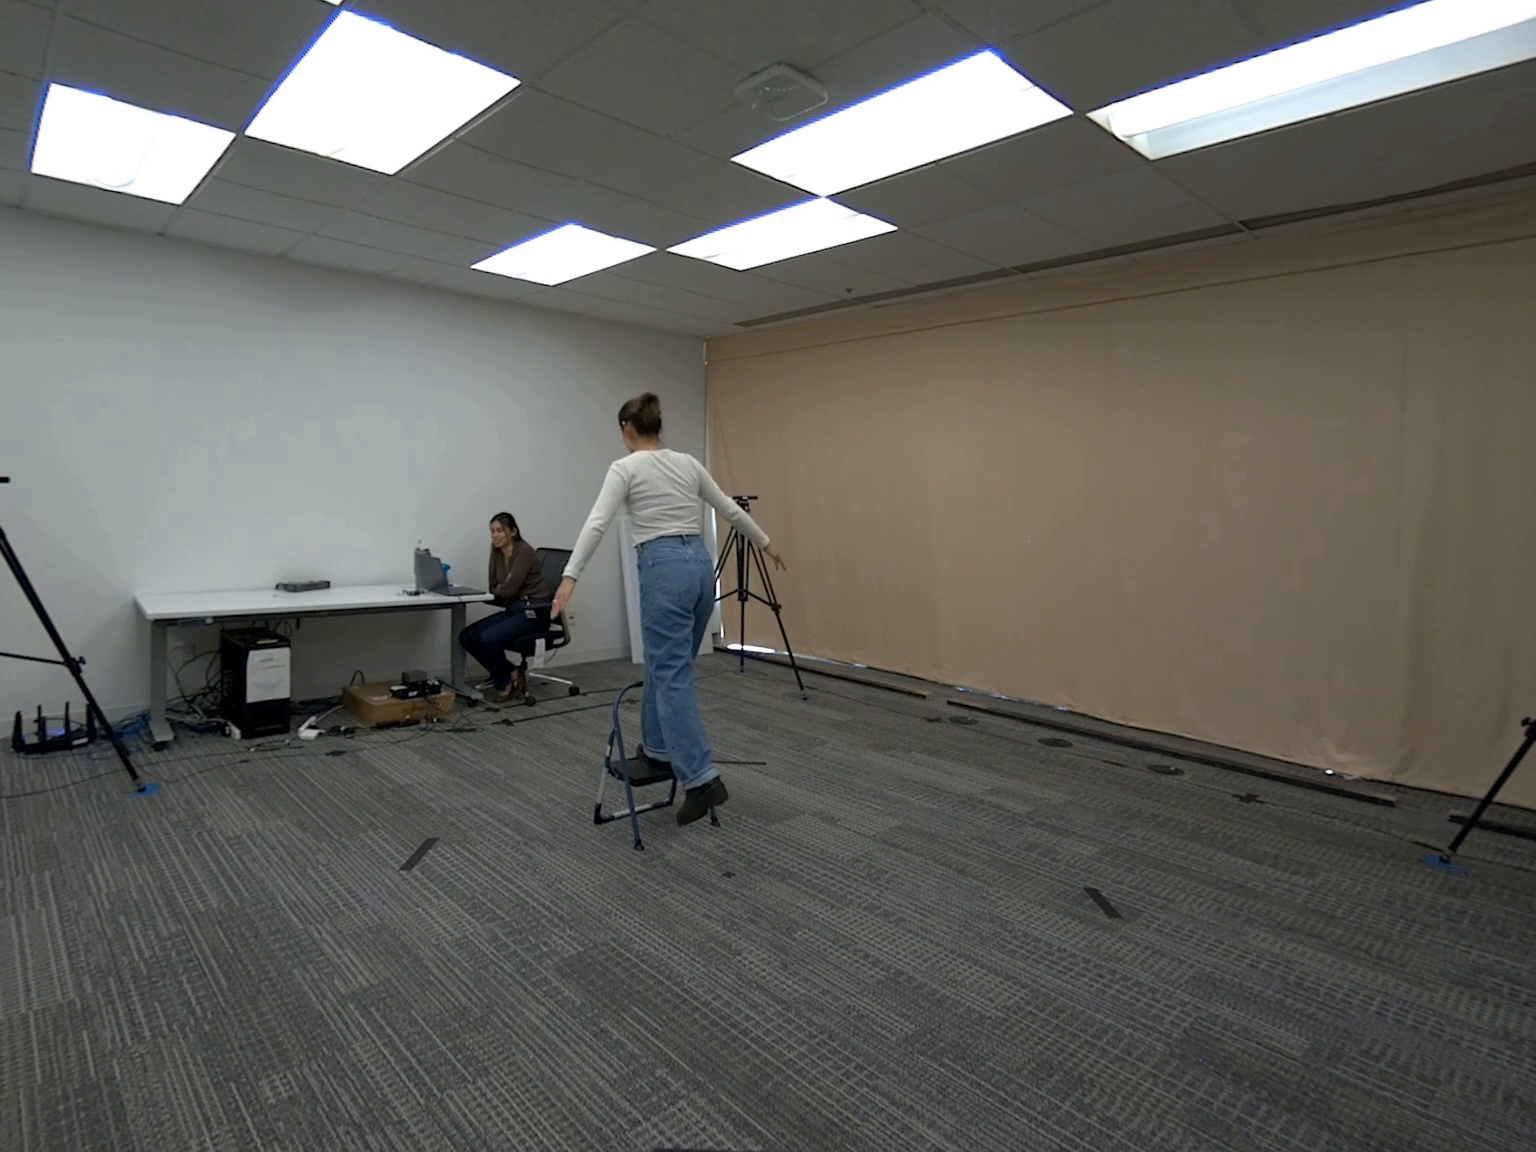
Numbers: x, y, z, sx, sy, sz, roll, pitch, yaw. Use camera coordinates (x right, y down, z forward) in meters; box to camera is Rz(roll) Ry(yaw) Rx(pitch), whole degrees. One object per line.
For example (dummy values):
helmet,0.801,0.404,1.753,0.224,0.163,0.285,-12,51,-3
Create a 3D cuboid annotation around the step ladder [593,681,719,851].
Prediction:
step ladder,-0.474,0.755,3.553,0.420,0.605,0.358,-1,4,-44
